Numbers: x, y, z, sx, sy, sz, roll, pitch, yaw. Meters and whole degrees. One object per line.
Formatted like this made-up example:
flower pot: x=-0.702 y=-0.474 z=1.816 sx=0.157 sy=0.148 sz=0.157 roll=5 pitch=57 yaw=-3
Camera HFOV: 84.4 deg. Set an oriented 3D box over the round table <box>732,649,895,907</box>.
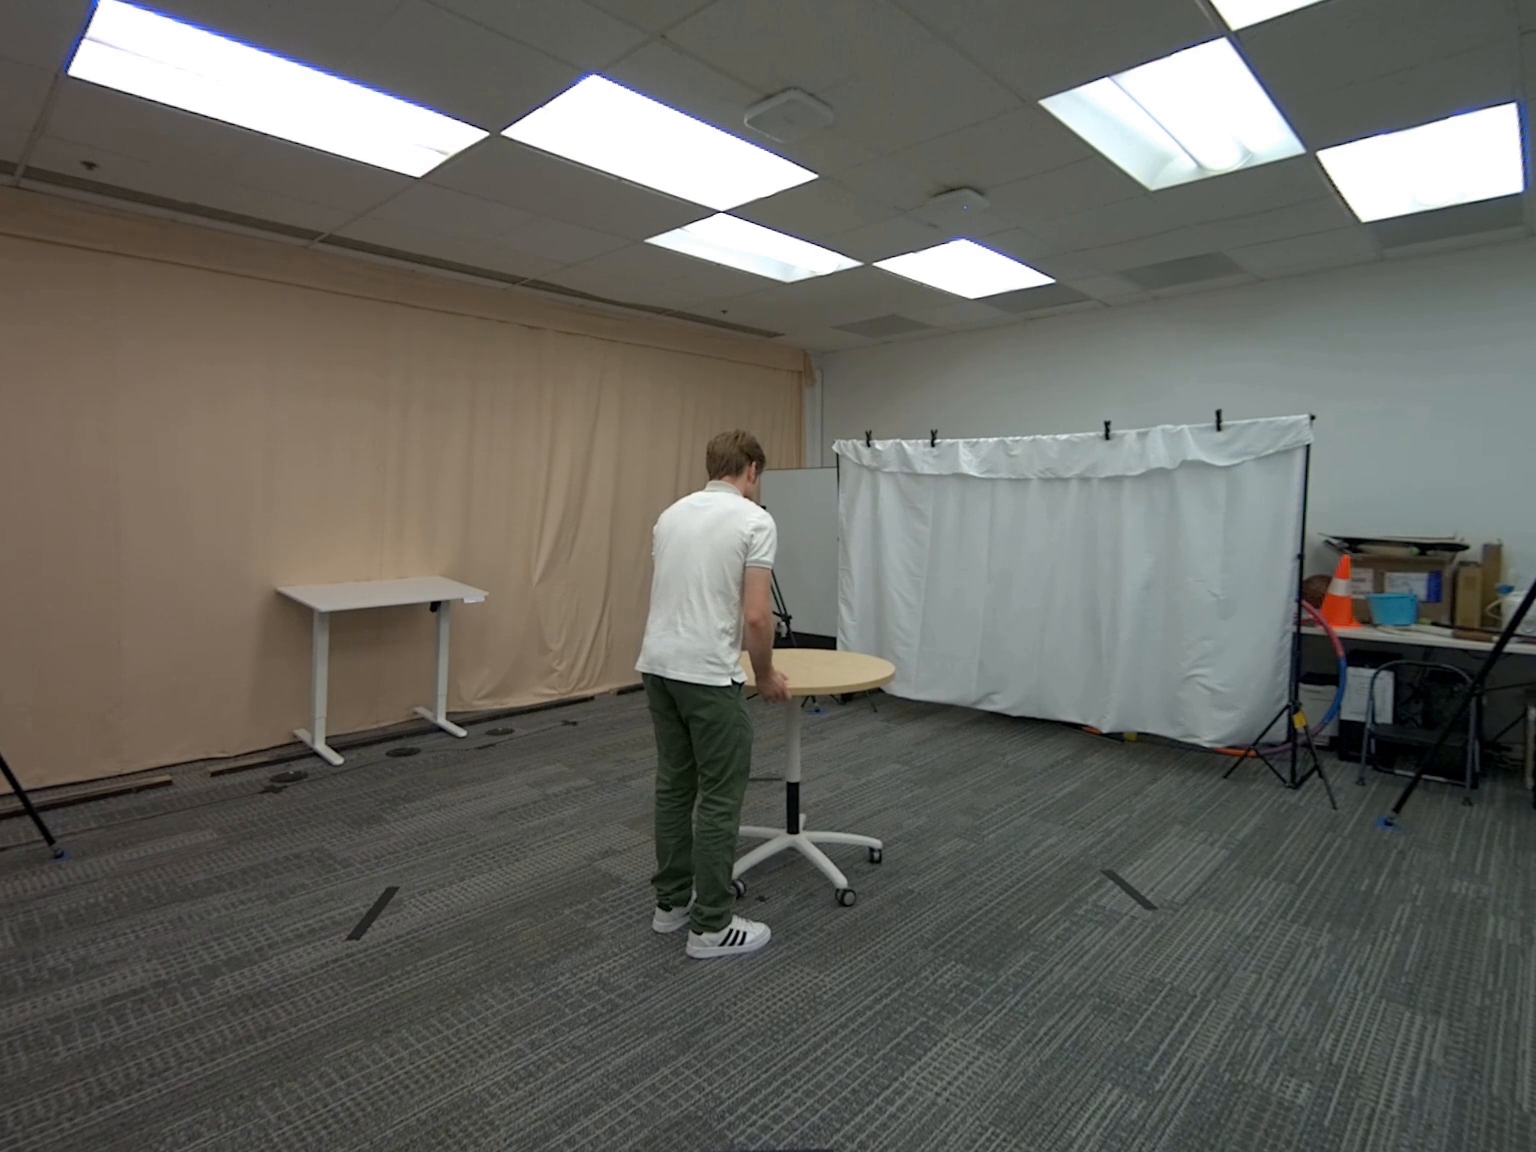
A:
round table: x=0.105 y=0.734 z=3.213 sx=0.763 sy=0.792 sz=0.767 roll=0 pitch=4 yaw=-2
